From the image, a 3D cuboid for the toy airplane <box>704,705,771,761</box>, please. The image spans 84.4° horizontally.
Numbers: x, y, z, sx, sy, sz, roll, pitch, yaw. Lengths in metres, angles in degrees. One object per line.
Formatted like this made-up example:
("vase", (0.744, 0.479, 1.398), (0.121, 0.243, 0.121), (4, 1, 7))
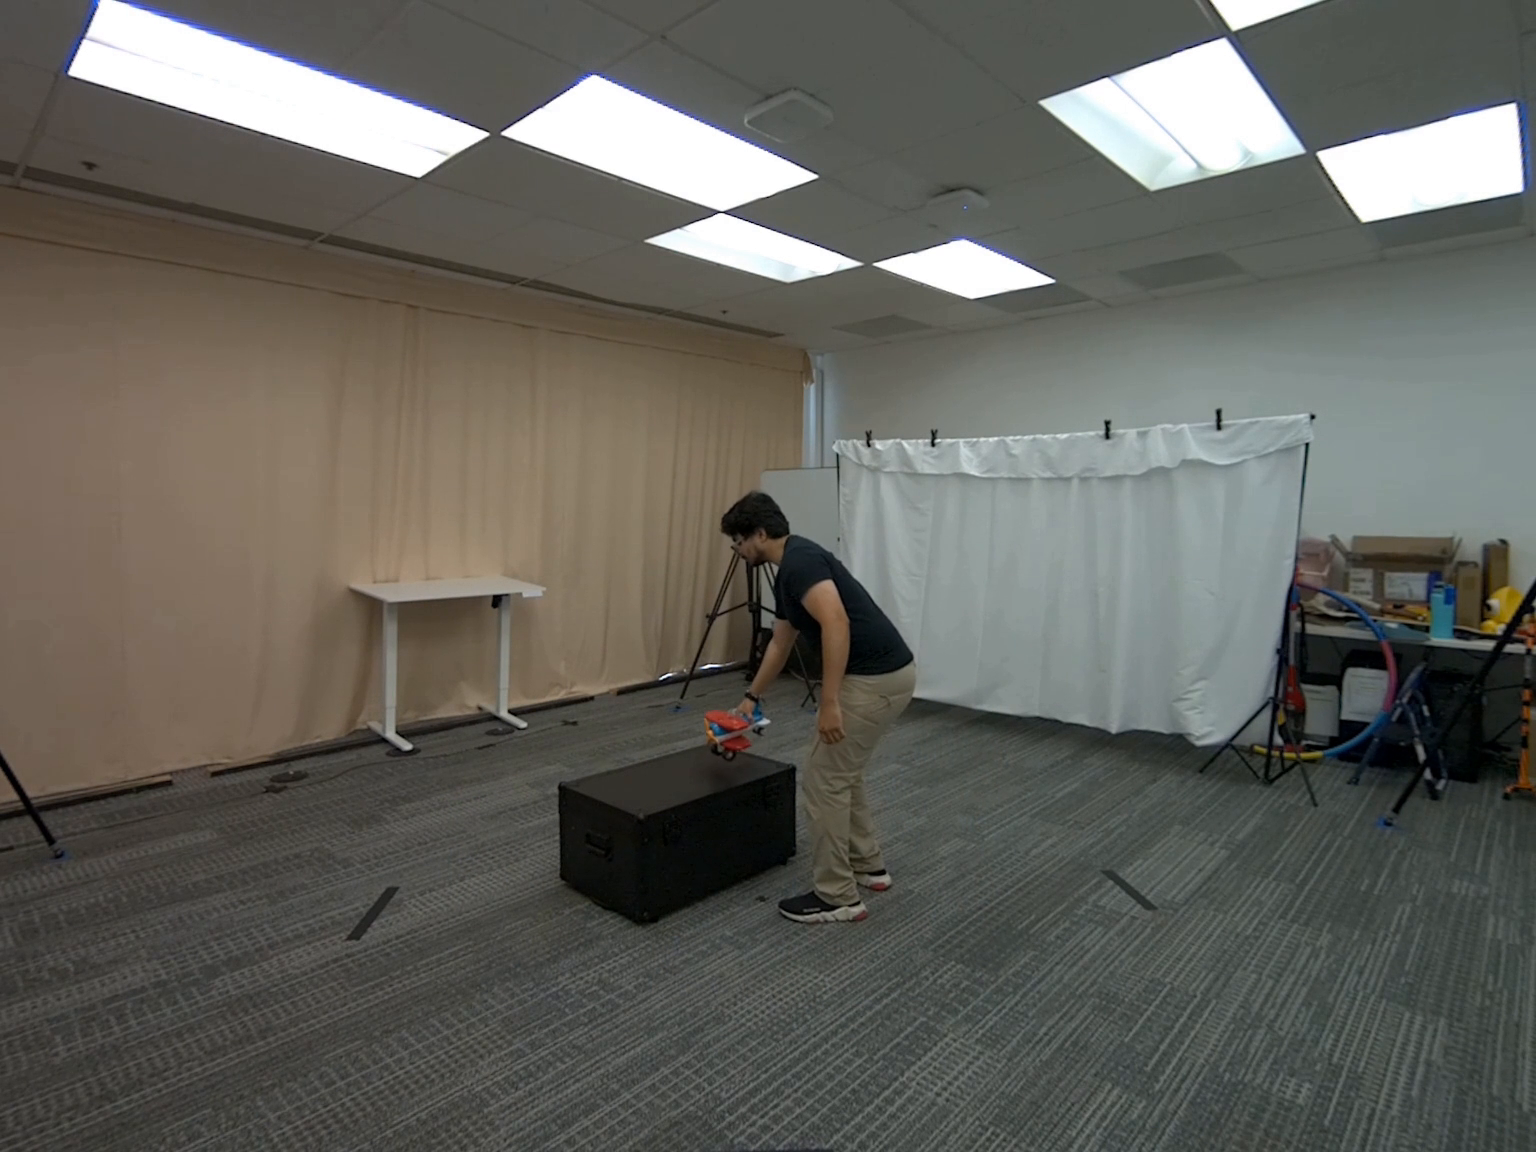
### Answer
("toy airplane", (-0.132, 0.598, 3.319), (0.258, 0.154, 0.256), (-9, 20, 32))
